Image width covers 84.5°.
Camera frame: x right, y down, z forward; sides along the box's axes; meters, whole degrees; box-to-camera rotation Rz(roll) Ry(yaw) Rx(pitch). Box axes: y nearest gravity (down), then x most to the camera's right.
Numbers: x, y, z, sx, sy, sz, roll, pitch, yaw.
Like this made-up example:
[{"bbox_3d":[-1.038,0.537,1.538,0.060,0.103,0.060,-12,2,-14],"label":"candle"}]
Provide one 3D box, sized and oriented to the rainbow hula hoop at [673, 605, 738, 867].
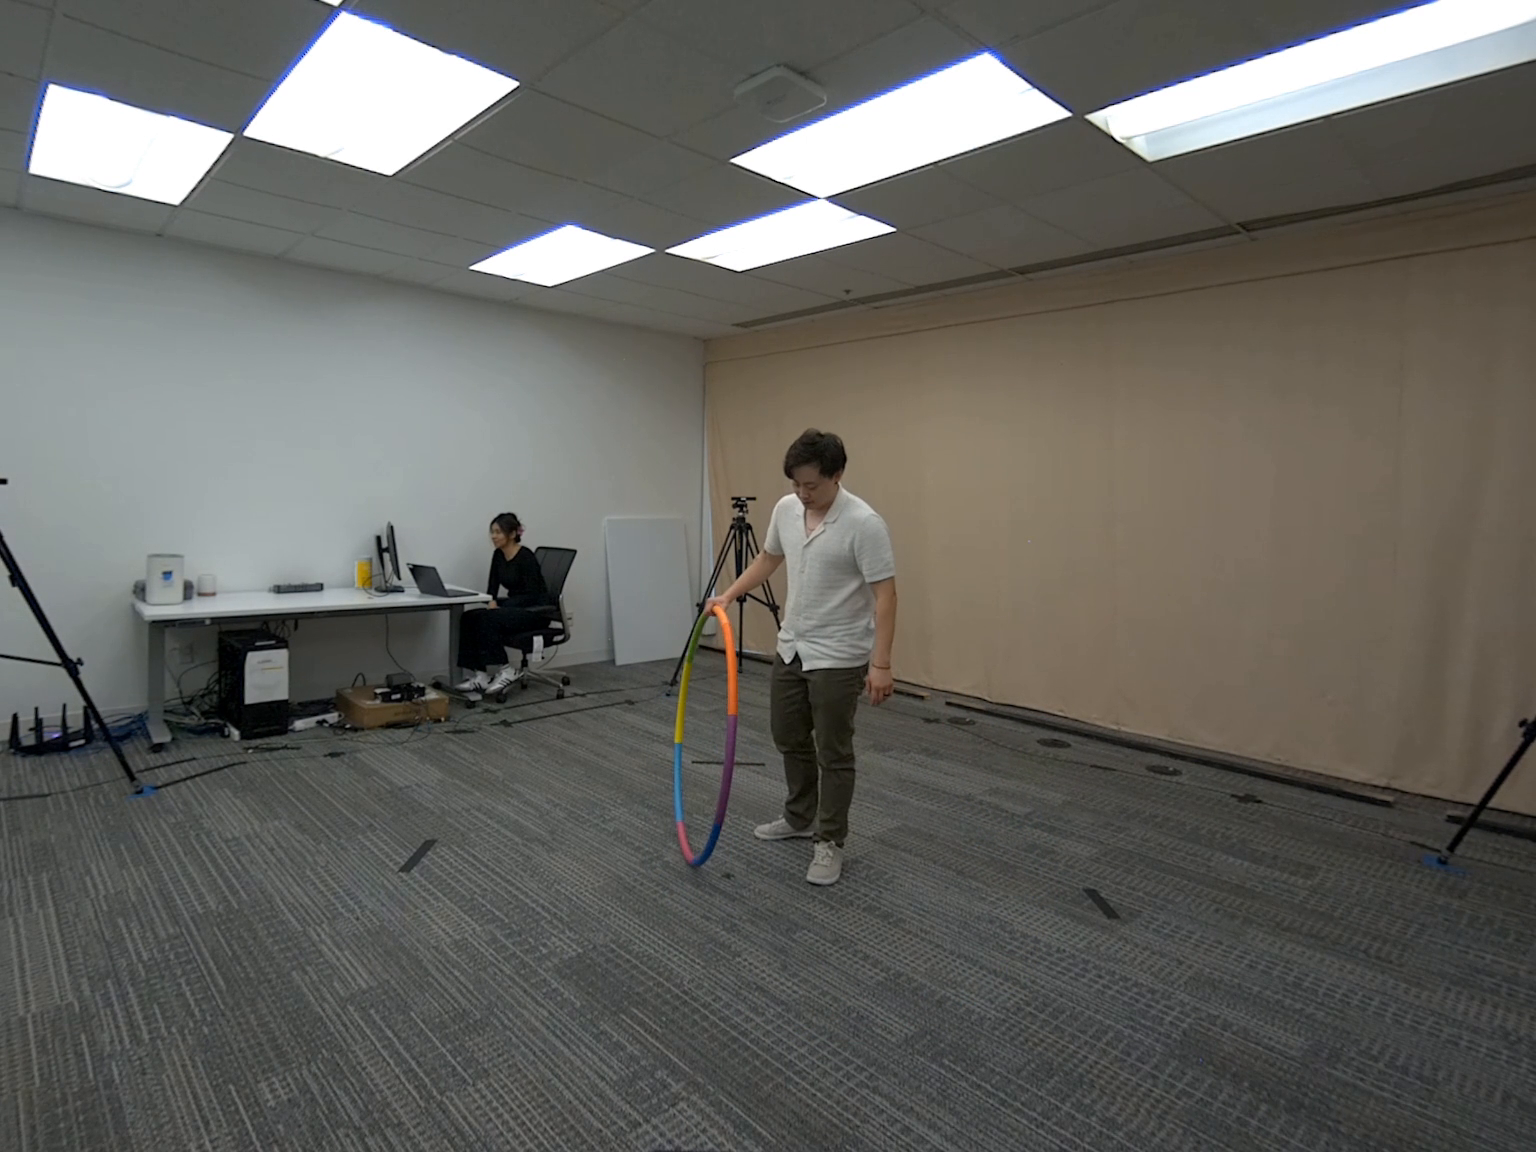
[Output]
[{"bbox_3d":[-0.261,0.604,3.260,0.035,0.977,0.992,7,3,-15],"label":"rainbow hula hoop"}]
